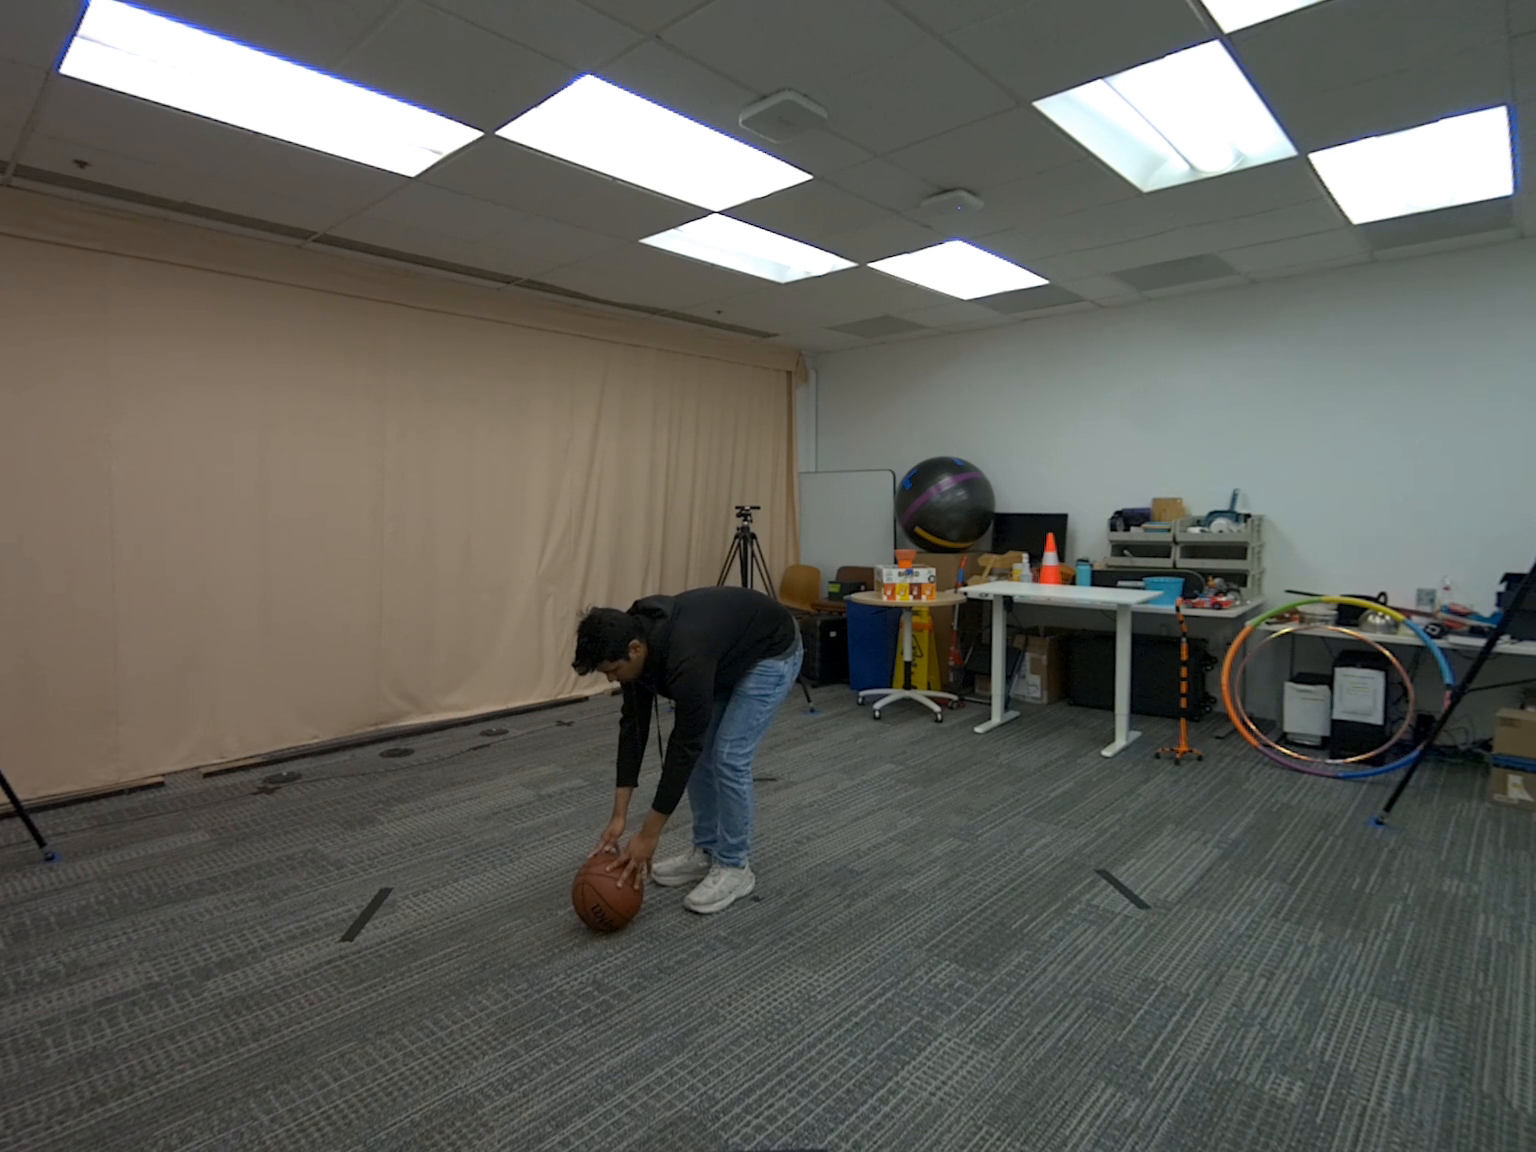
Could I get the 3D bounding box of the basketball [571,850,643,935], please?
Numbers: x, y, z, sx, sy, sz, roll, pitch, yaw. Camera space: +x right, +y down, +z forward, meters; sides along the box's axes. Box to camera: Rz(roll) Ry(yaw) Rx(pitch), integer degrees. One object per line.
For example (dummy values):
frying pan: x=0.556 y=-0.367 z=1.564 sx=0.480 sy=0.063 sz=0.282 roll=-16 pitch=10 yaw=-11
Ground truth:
basketball: x=-0.528 y=1.041 z=2.787 sx=0.236 sy=0.235 sz=0.237 roll=0 pitch=4 yaw=-2
